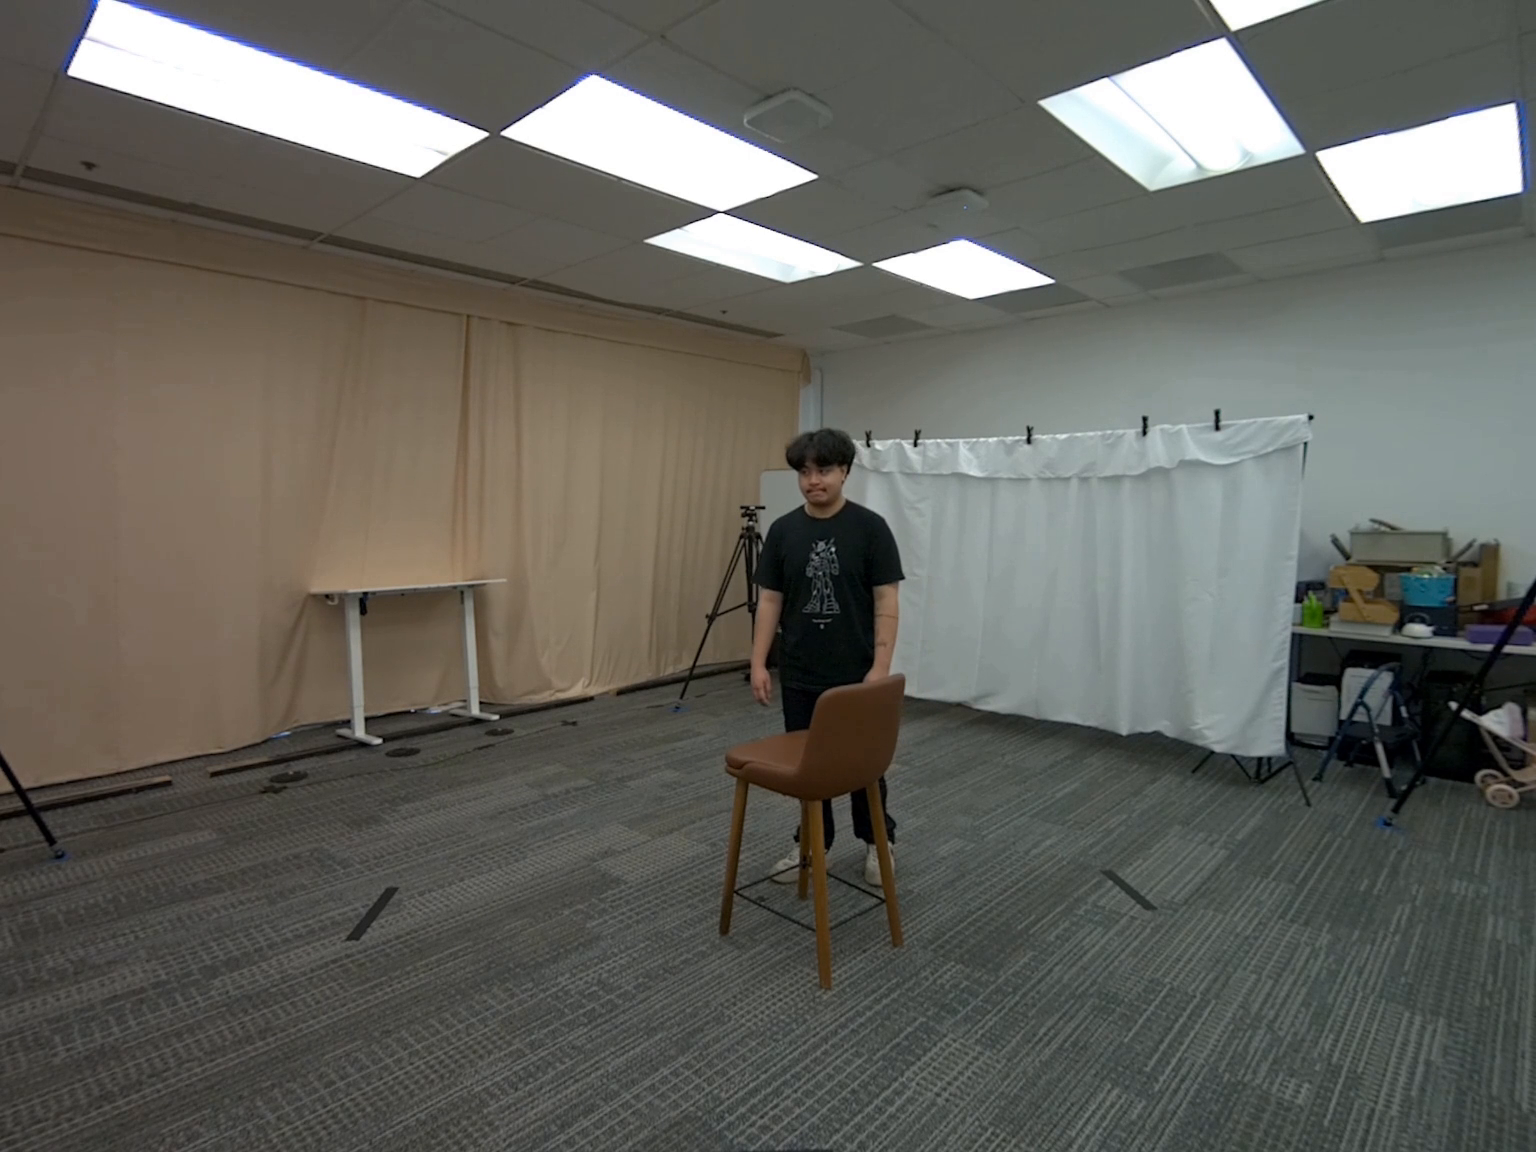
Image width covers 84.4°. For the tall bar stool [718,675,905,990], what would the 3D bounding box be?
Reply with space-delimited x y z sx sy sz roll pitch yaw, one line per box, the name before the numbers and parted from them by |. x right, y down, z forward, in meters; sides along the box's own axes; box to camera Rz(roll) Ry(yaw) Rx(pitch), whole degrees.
tall bar stool | 0.145 0.730 2.682 0.442 0.887 0.484 -3 7 -43
